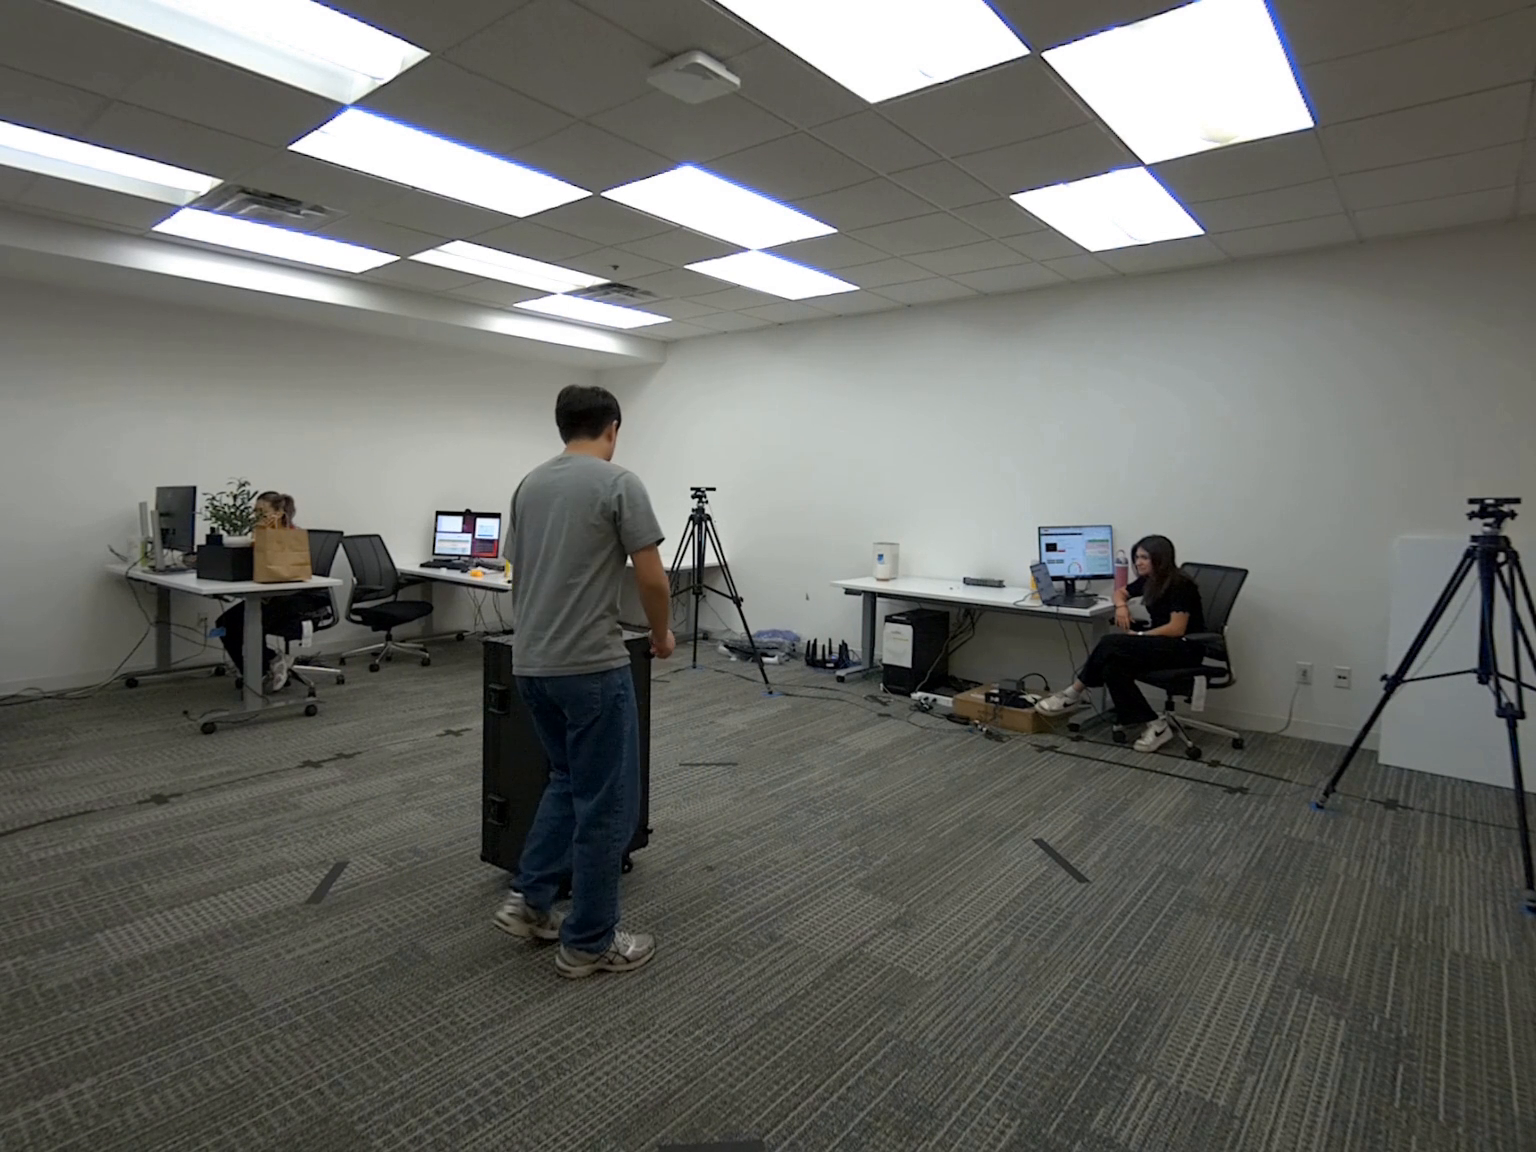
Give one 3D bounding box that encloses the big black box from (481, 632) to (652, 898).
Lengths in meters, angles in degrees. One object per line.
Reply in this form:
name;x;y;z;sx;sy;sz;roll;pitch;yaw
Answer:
big black box;-0.716;0.636;3.033;0.409;0.859;0.506;4;4;37
